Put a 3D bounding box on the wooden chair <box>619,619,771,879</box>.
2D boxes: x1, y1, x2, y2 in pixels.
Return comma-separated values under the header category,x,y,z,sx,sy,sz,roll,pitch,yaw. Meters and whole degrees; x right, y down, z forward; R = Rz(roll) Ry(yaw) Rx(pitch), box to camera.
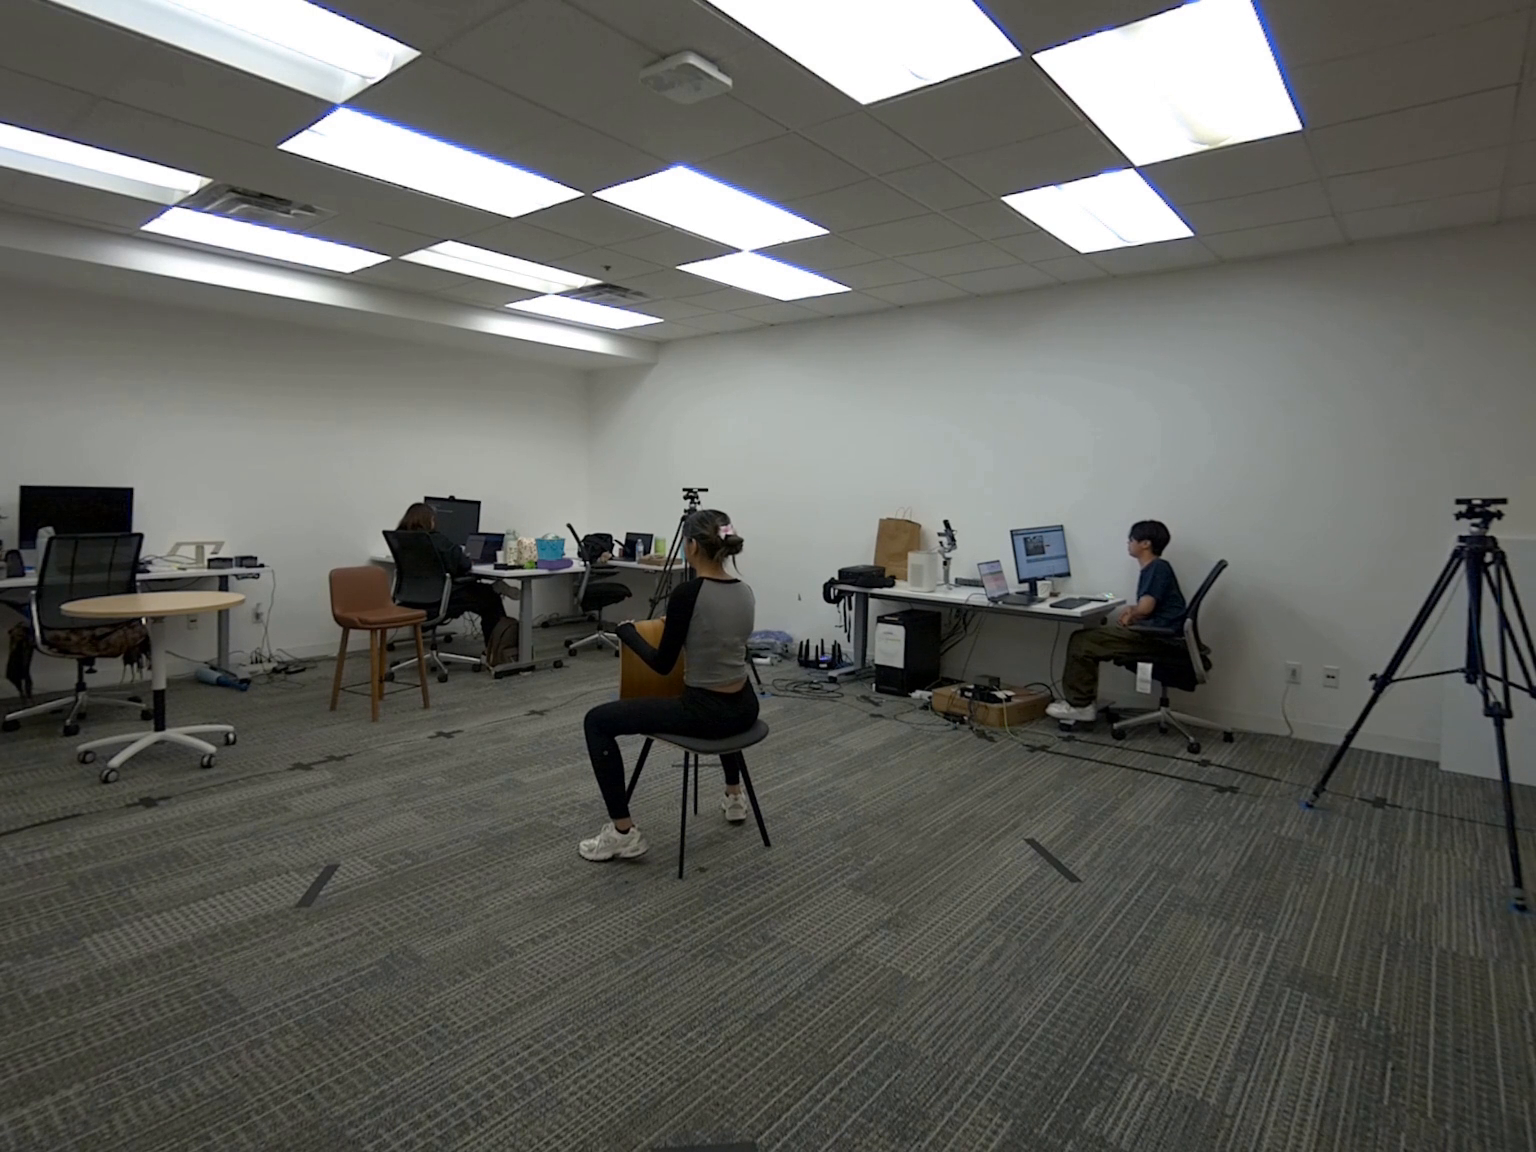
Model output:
category,x,y,z,sx,sy,sz,roll,pitch,yaw
wooden chair,-0.301,0.621,3.305,0.463,0.878,0.539,-2,-1,-43
